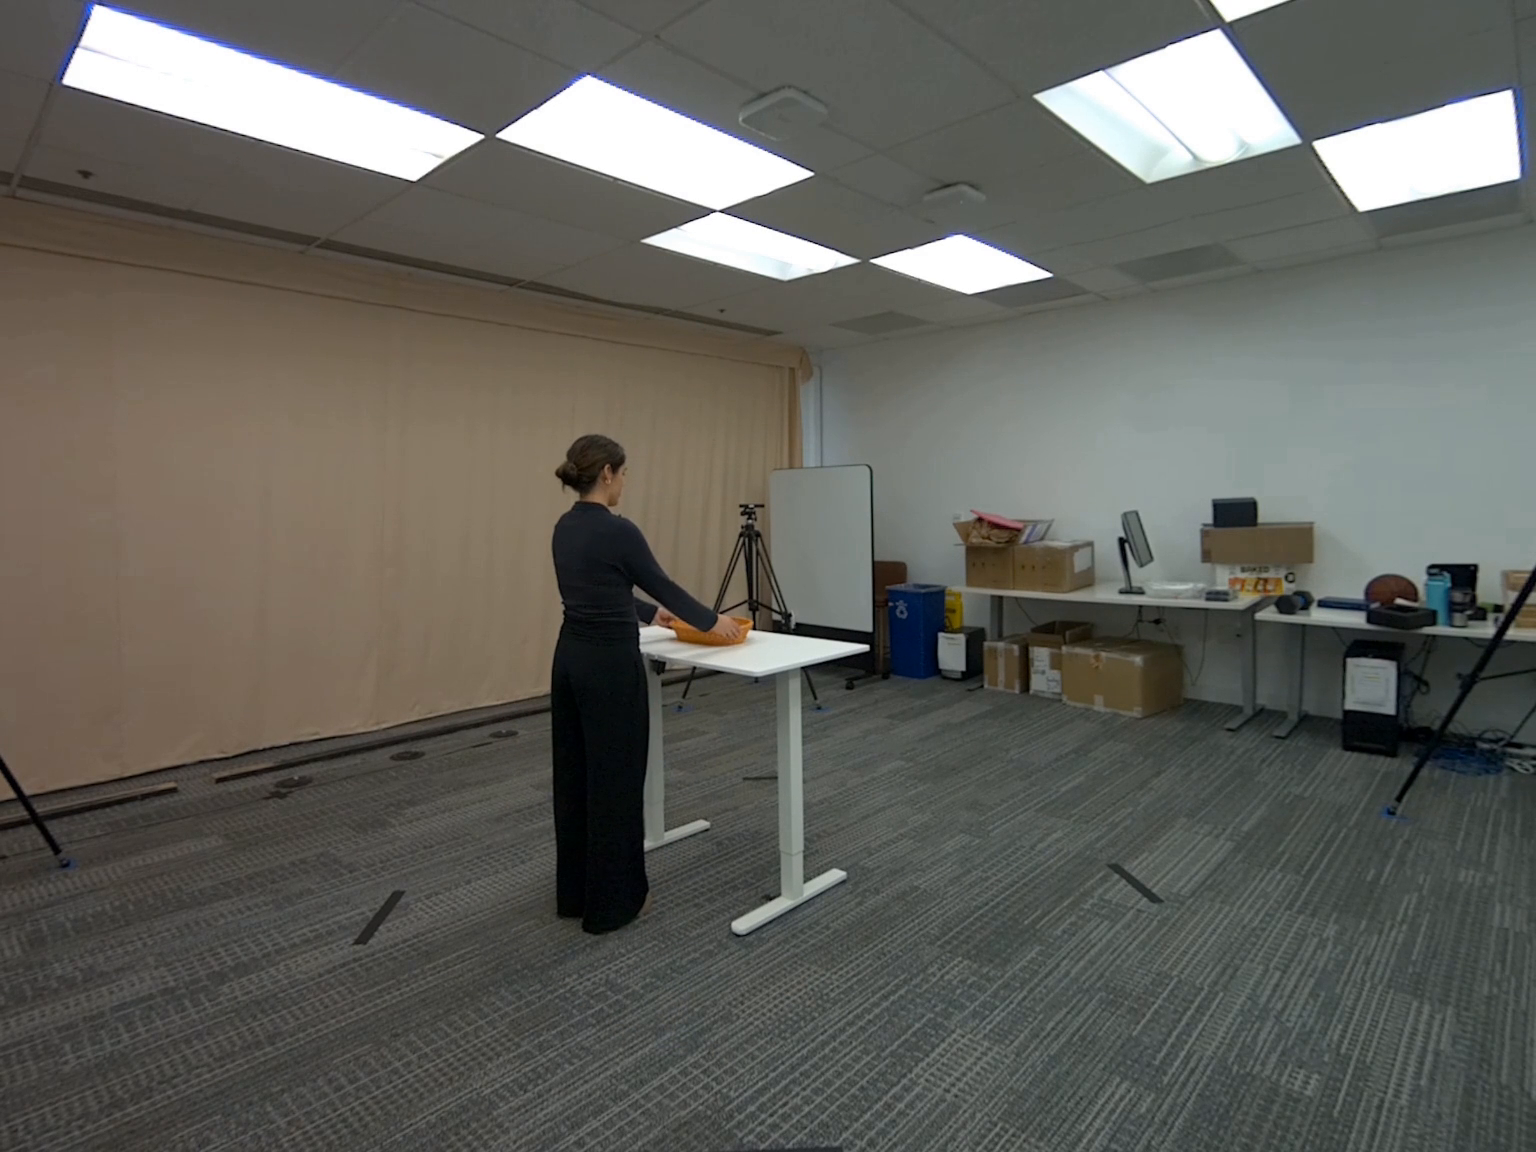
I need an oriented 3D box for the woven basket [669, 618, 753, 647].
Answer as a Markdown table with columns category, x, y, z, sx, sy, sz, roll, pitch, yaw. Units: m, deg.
| category | x | y | z | sx | sy | sz | roll | pitch | yaw |
| --- | --- | --- | --- | --- | --- | --- | --- | --- | --- |
| woven basket | -0.222 | 0.213 | 3.187 | 0.245 | 0.073 | 0.362 | -8 | 9 | -44 |
